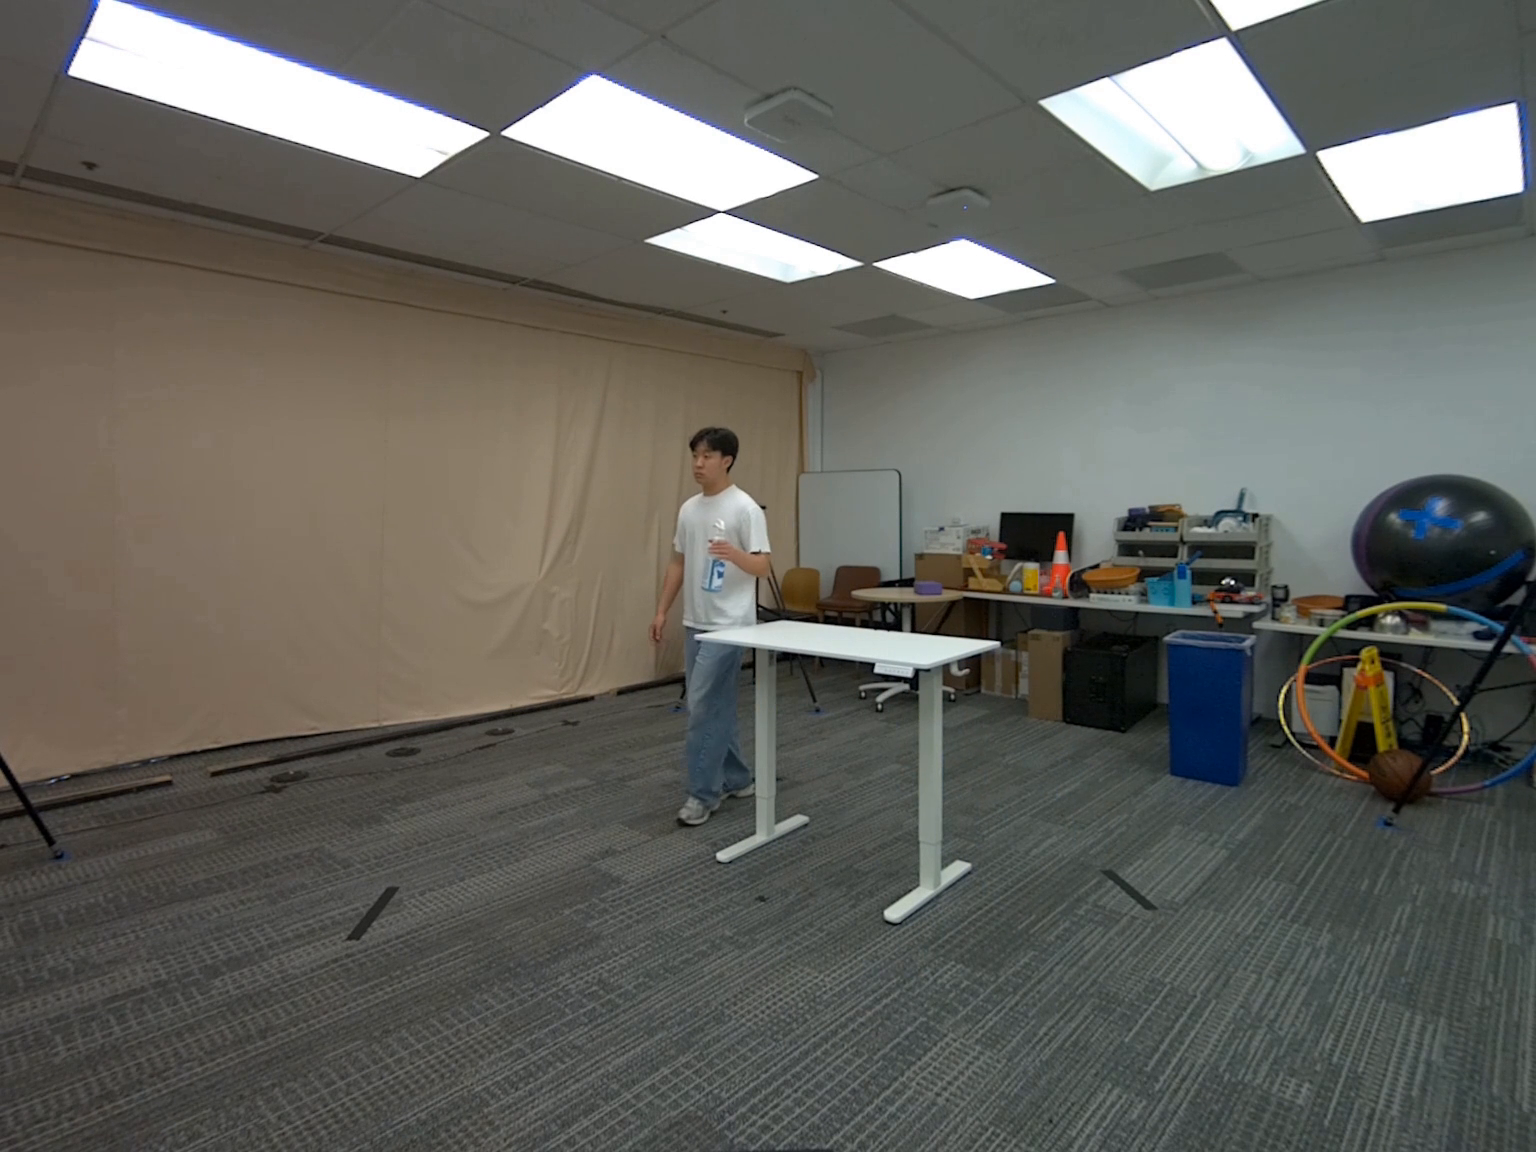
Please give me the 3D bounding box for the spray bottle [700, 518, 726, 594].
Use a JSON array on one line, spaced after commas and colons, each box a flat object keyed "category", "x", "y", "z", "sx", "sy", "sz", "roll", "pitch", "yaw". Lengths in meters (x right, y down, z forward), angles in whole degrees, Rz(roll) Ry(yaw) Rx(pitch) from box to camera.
[{"category": "spray bottle", "x": -0.220, "y": -0.078, "z": 3.495, "sx": 0.088, "sy": 0.297, "sz": 0.089, "roll": 11, "pitch": 5, "yaw": 6}]
